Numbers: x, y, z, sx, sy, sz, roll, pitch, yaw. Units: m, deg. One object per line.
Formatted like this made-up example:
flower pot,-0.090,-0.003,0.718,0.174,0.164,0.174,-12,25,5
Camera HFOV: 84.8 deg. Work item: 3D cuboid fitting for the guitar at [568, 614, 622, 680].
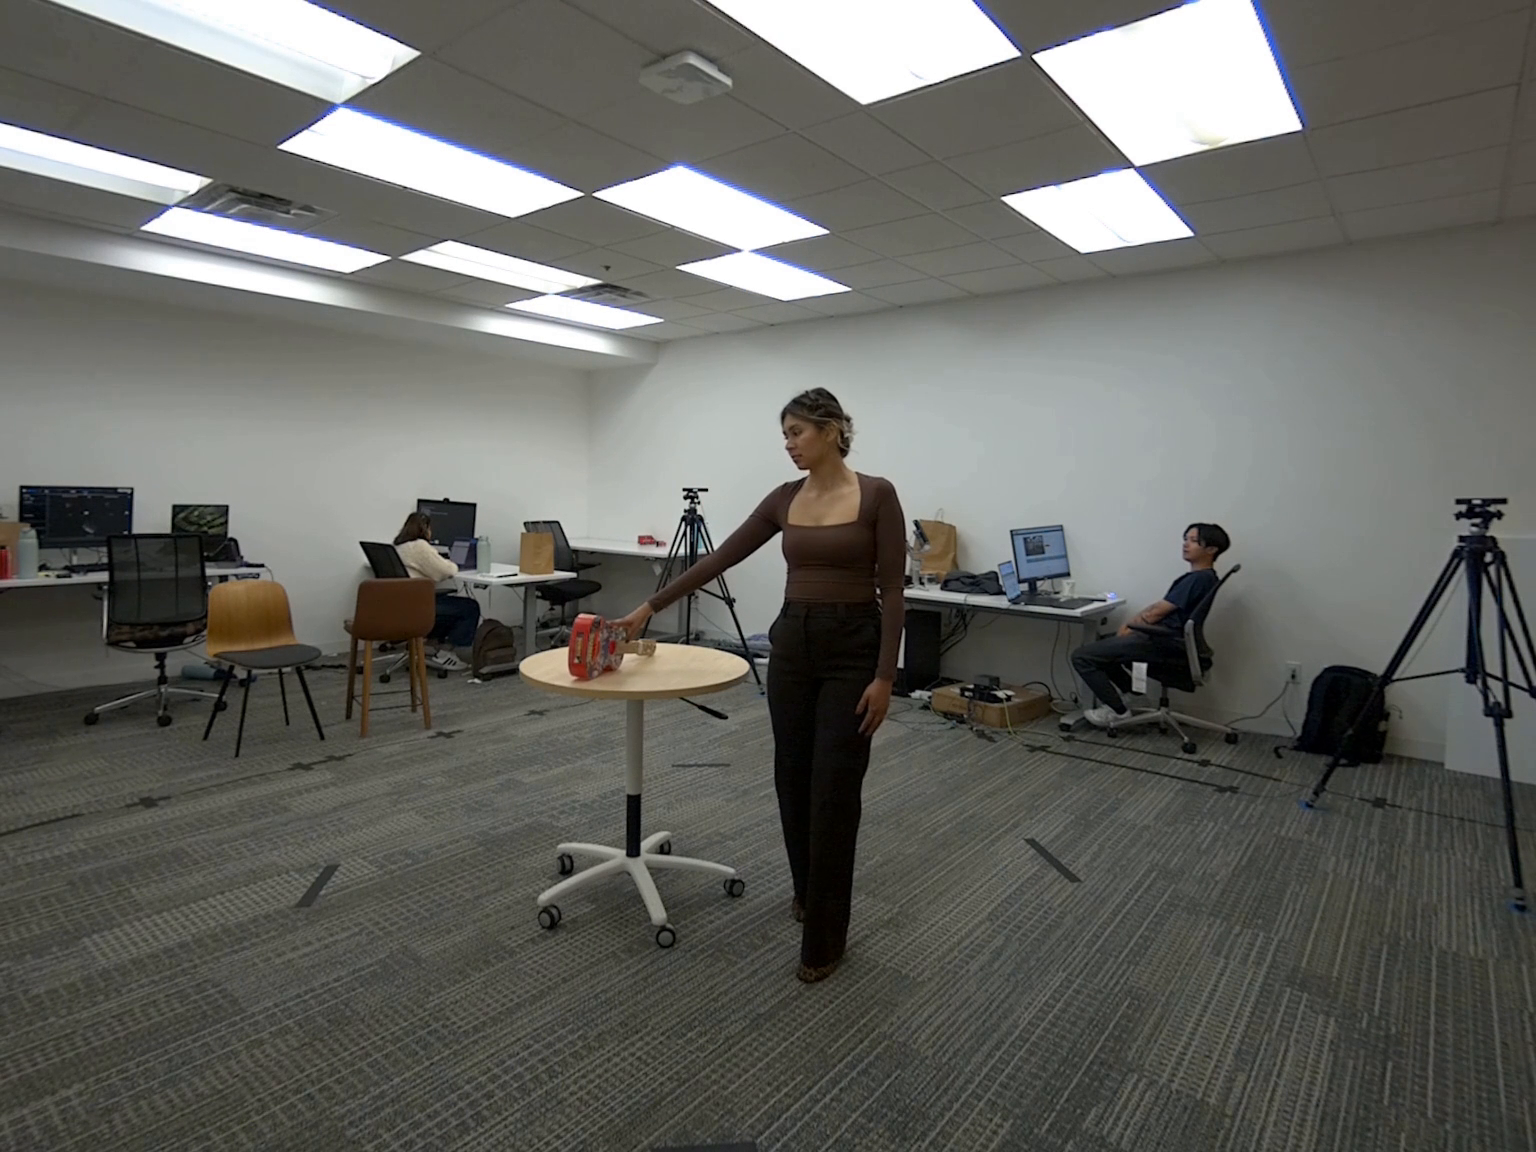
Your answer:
guitar,-0.513,0.257,2.792,0.072,0.195,0.482,3,-13,18
